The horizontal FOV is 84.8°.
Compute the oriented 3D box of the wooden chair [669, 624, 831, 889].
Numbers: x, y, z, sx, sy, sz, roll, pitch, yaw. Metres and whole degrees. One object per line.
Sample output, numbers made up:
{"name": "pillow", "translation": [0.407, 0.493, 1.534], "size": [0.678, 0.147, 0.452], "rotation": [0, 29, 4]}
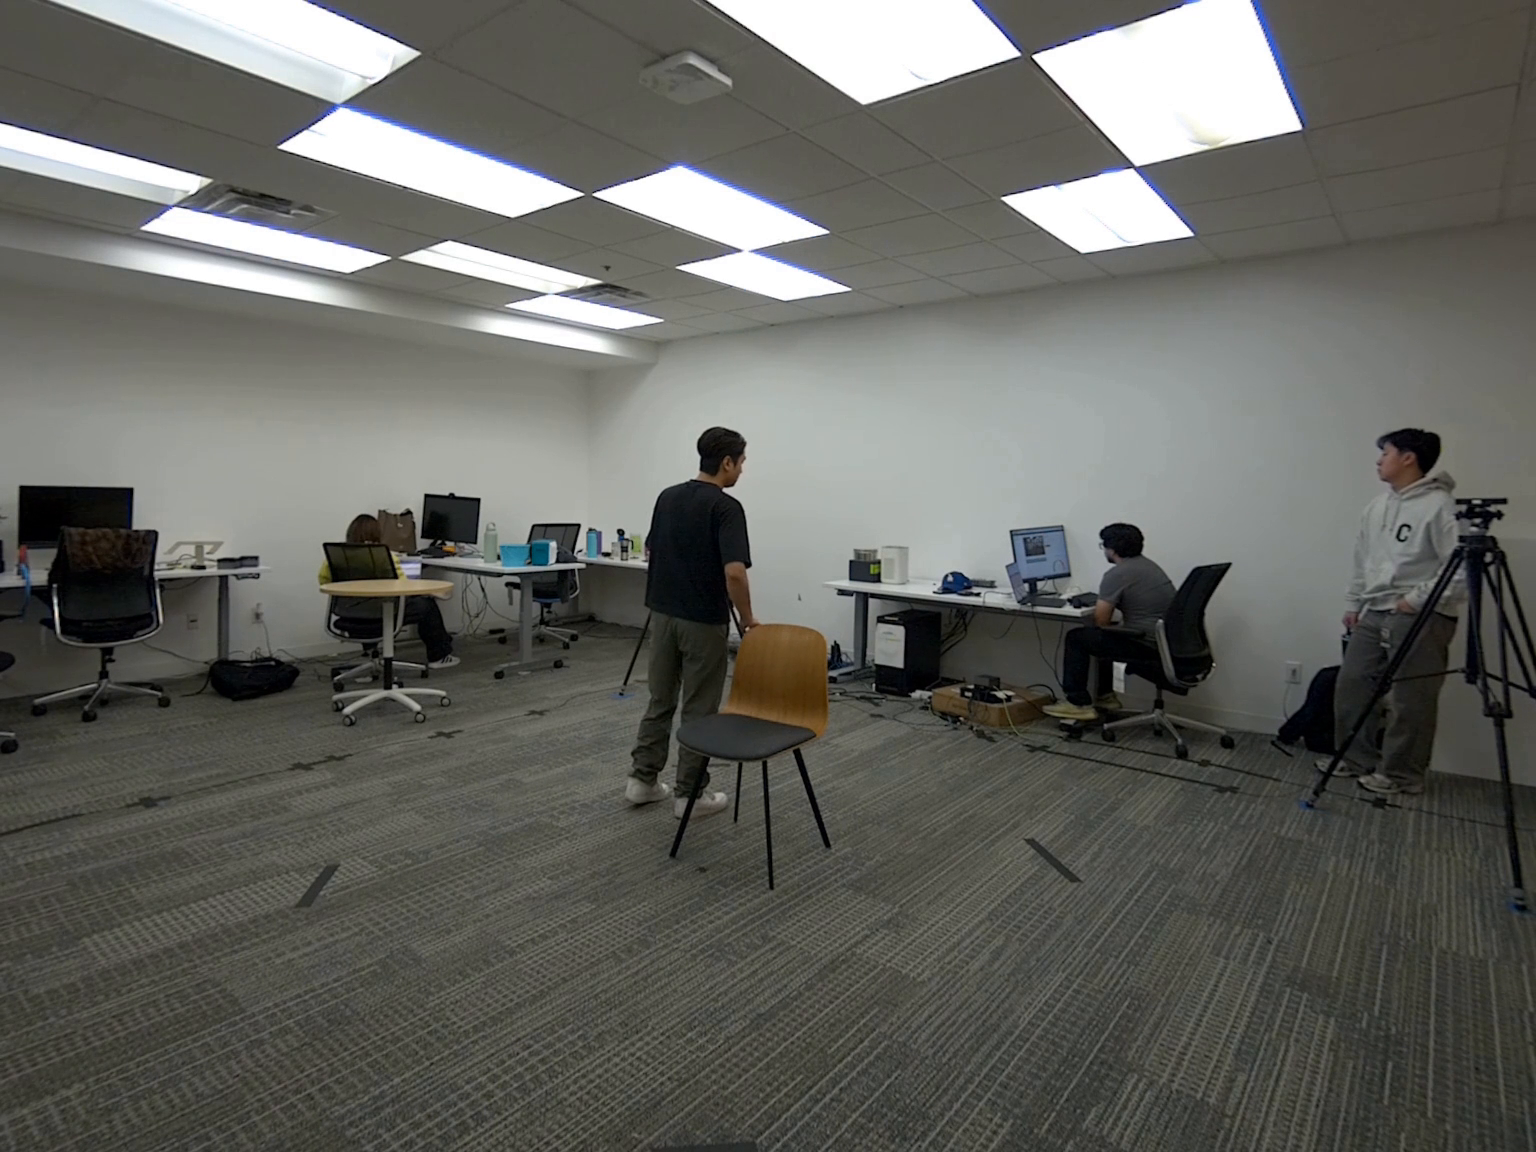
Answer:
{"name": "wooden chair", "translation": [-0.062, 0.633, 3.231], "size": [0.493, 0.878, 0.507], "rotation": [3, 0, 32]}
